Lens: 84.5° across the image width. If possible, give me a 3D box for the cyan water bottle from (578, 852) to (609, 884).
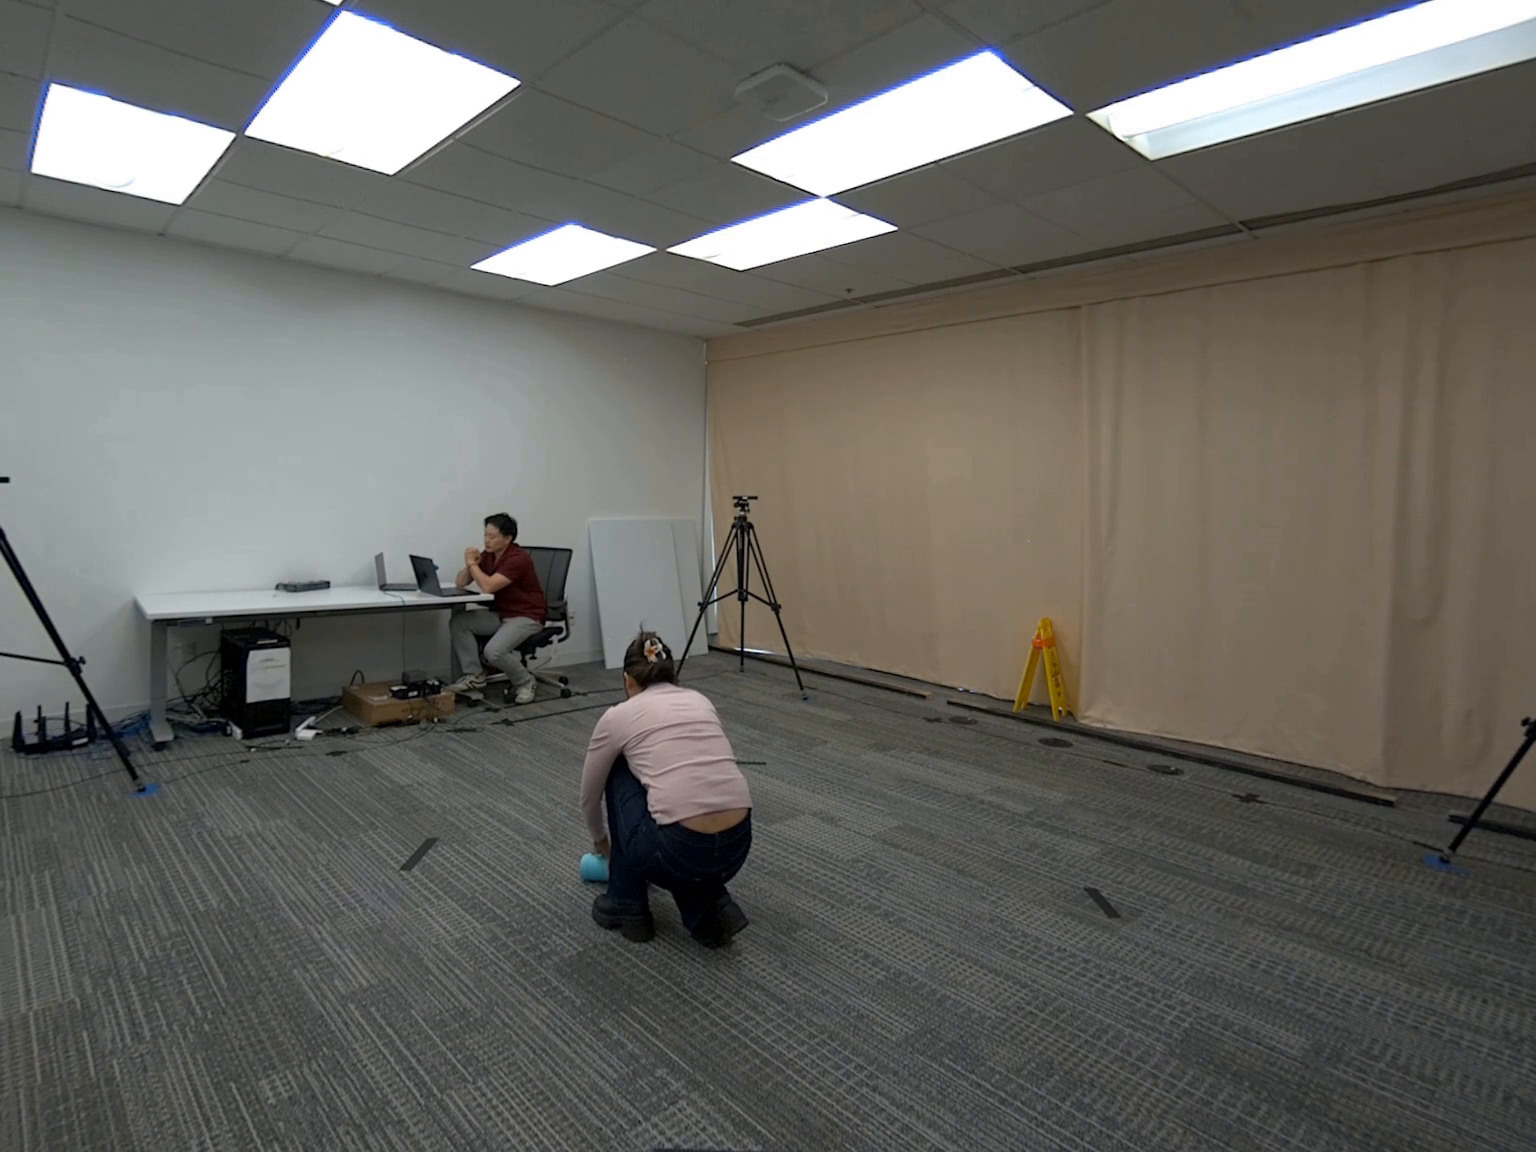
[{"bbox_3d":[-0.537,1.054,3.006,0.286,0.092,0.091,2,4,13],"label":"cyan water bottle"}]
